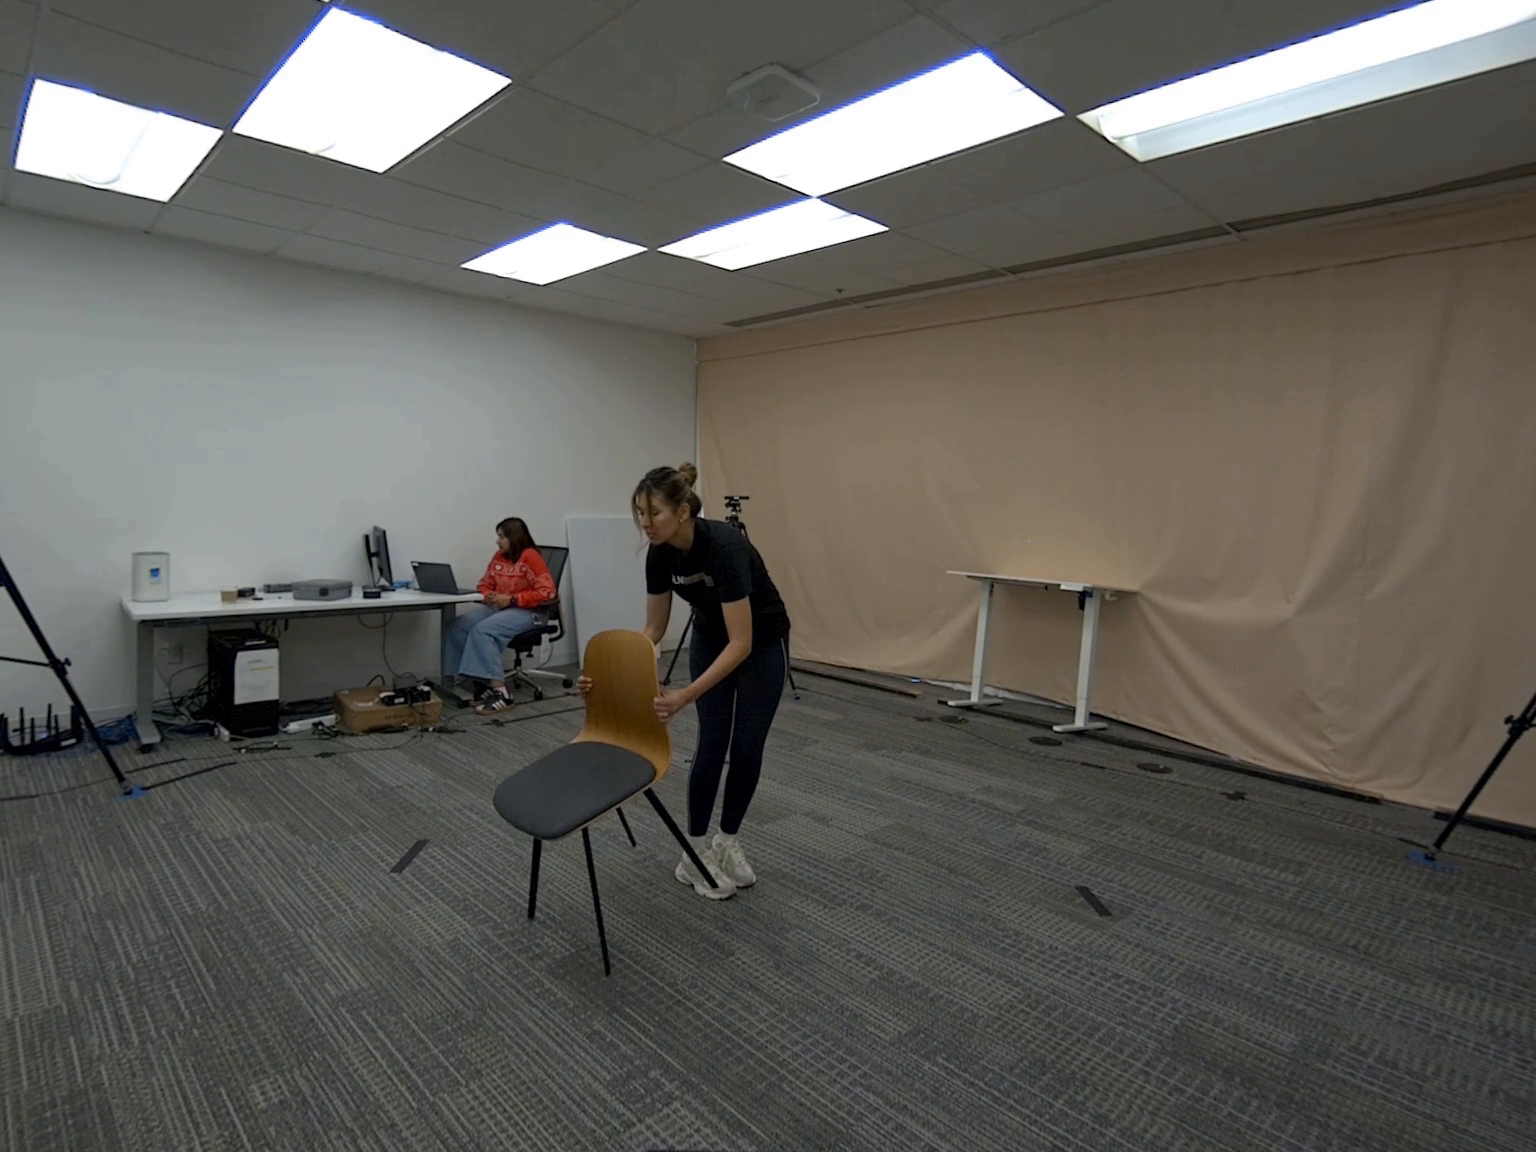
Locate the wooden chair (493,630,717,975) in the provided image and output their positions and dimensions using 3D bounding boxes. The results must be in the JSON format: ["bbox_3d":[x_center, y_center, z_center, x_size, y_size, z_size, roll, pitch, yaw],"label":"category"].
[{"bbox_3d":[-0.547,0.664,2.623,0.490,0.868,0.515,5,17,45],"label":"wooden chair"}]
